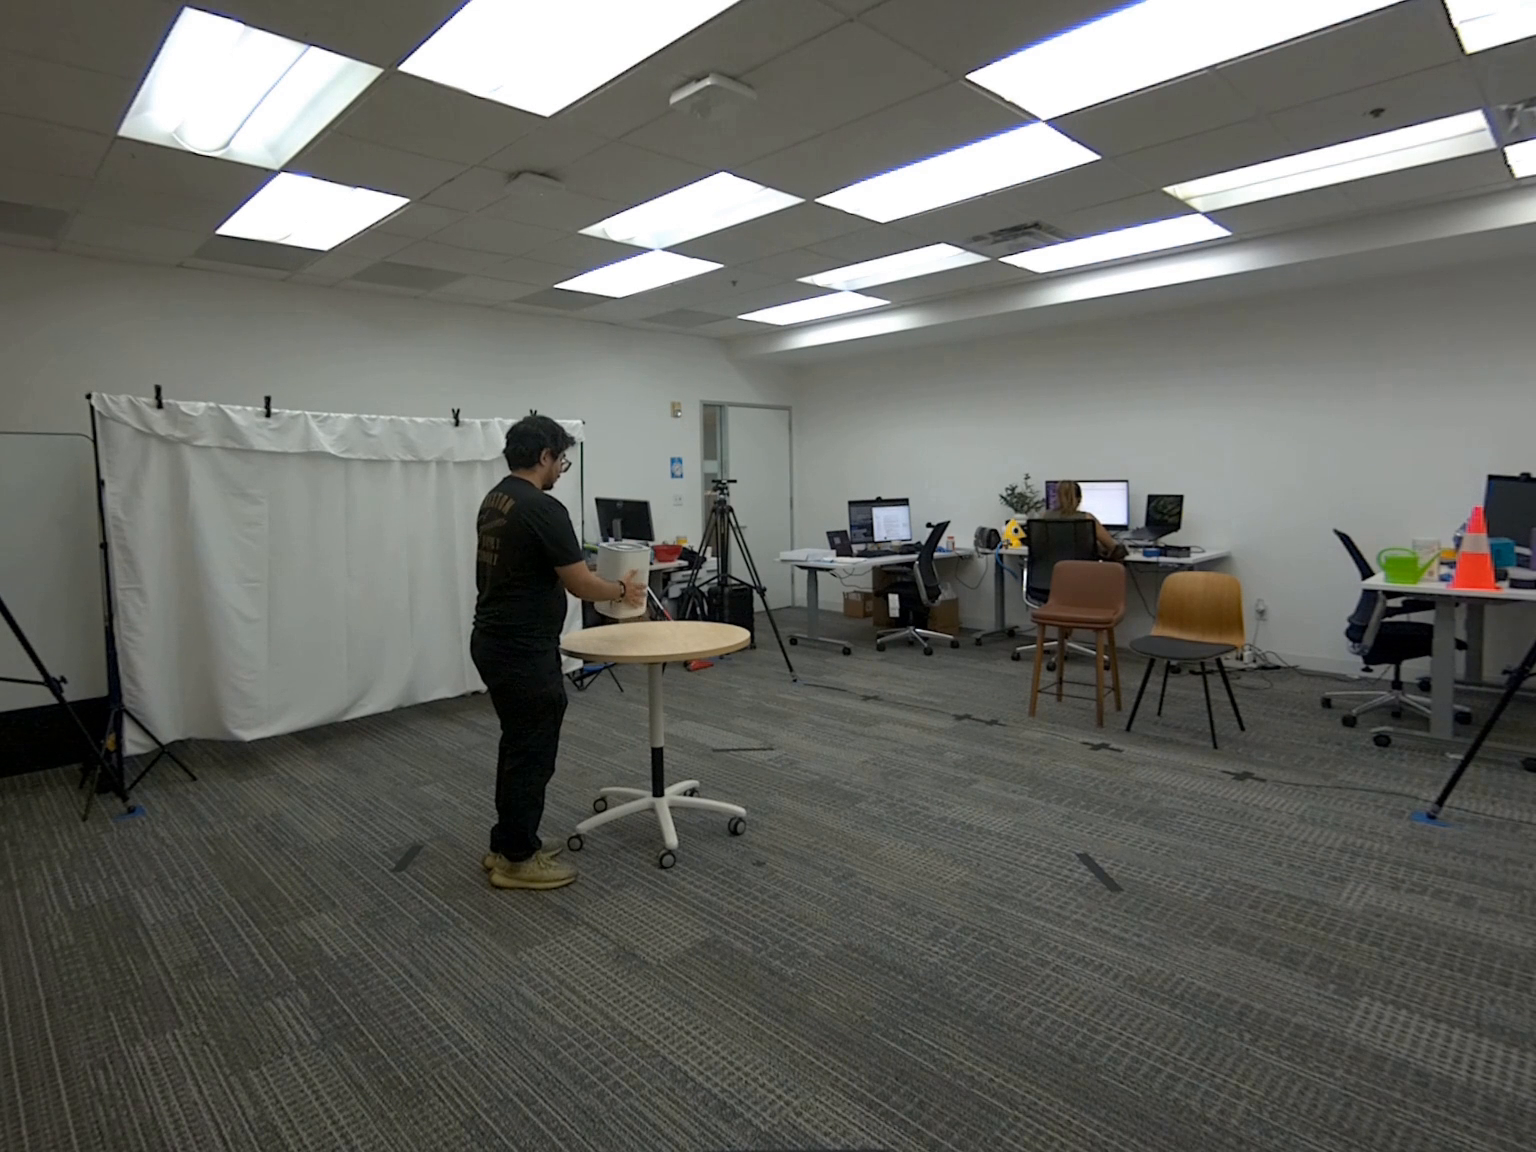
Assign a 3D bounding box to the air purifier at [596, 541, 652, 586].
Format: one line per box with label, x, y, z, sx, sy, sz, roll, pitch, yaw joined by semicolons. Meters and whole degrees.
air purifier;-0.559;0.008;3.273;0.174;0.260;0.169;12;10;42
